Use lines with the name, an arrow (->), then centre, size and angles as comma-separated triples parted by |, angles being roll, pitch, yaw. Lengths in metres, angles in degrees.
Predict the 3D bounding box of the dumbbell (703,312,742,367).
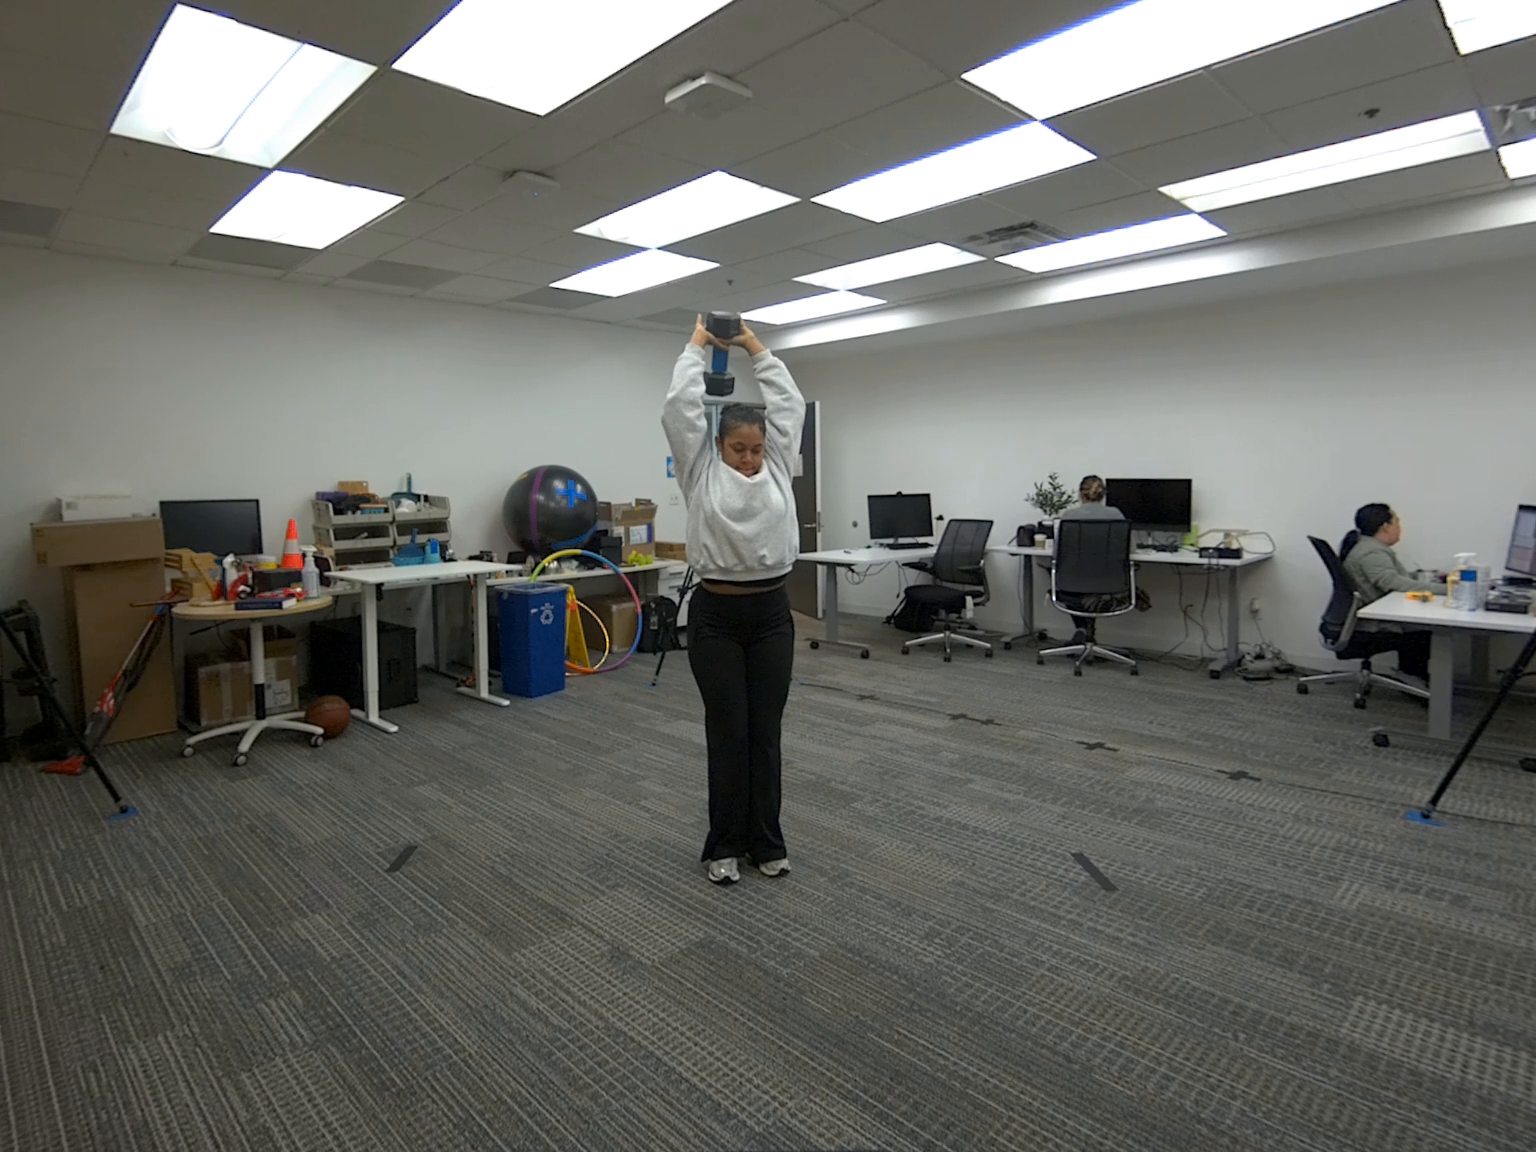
dumbbell -> -0.166, -0.798, 3.101 | 0.112, 0.288, 0.121 | 21, 28, 28
